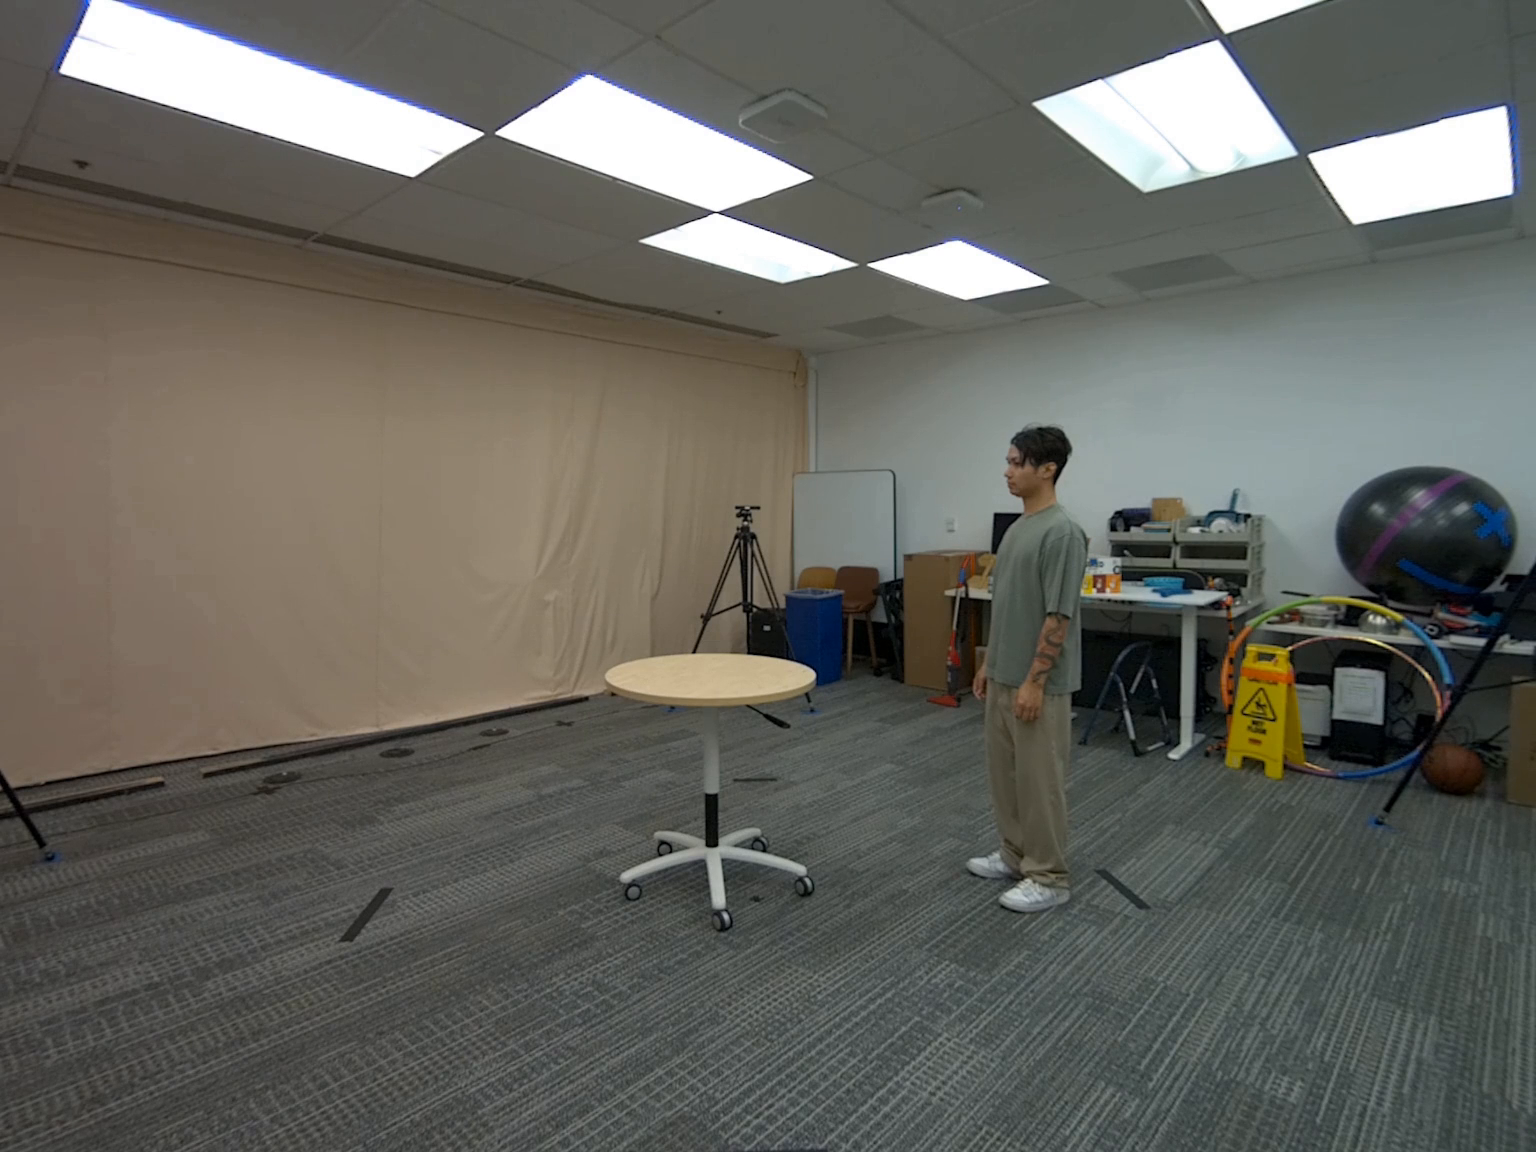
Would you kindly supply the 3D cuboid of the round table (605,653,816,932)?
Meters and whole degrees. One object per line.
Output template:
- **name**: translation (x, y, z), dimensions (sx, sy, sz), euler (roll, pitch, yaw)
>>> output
- **round table**: translation (-0.211, 0.745, 3.109), dimensions (0.784, 0.785, 0.788), euler (0, 4, -2)
